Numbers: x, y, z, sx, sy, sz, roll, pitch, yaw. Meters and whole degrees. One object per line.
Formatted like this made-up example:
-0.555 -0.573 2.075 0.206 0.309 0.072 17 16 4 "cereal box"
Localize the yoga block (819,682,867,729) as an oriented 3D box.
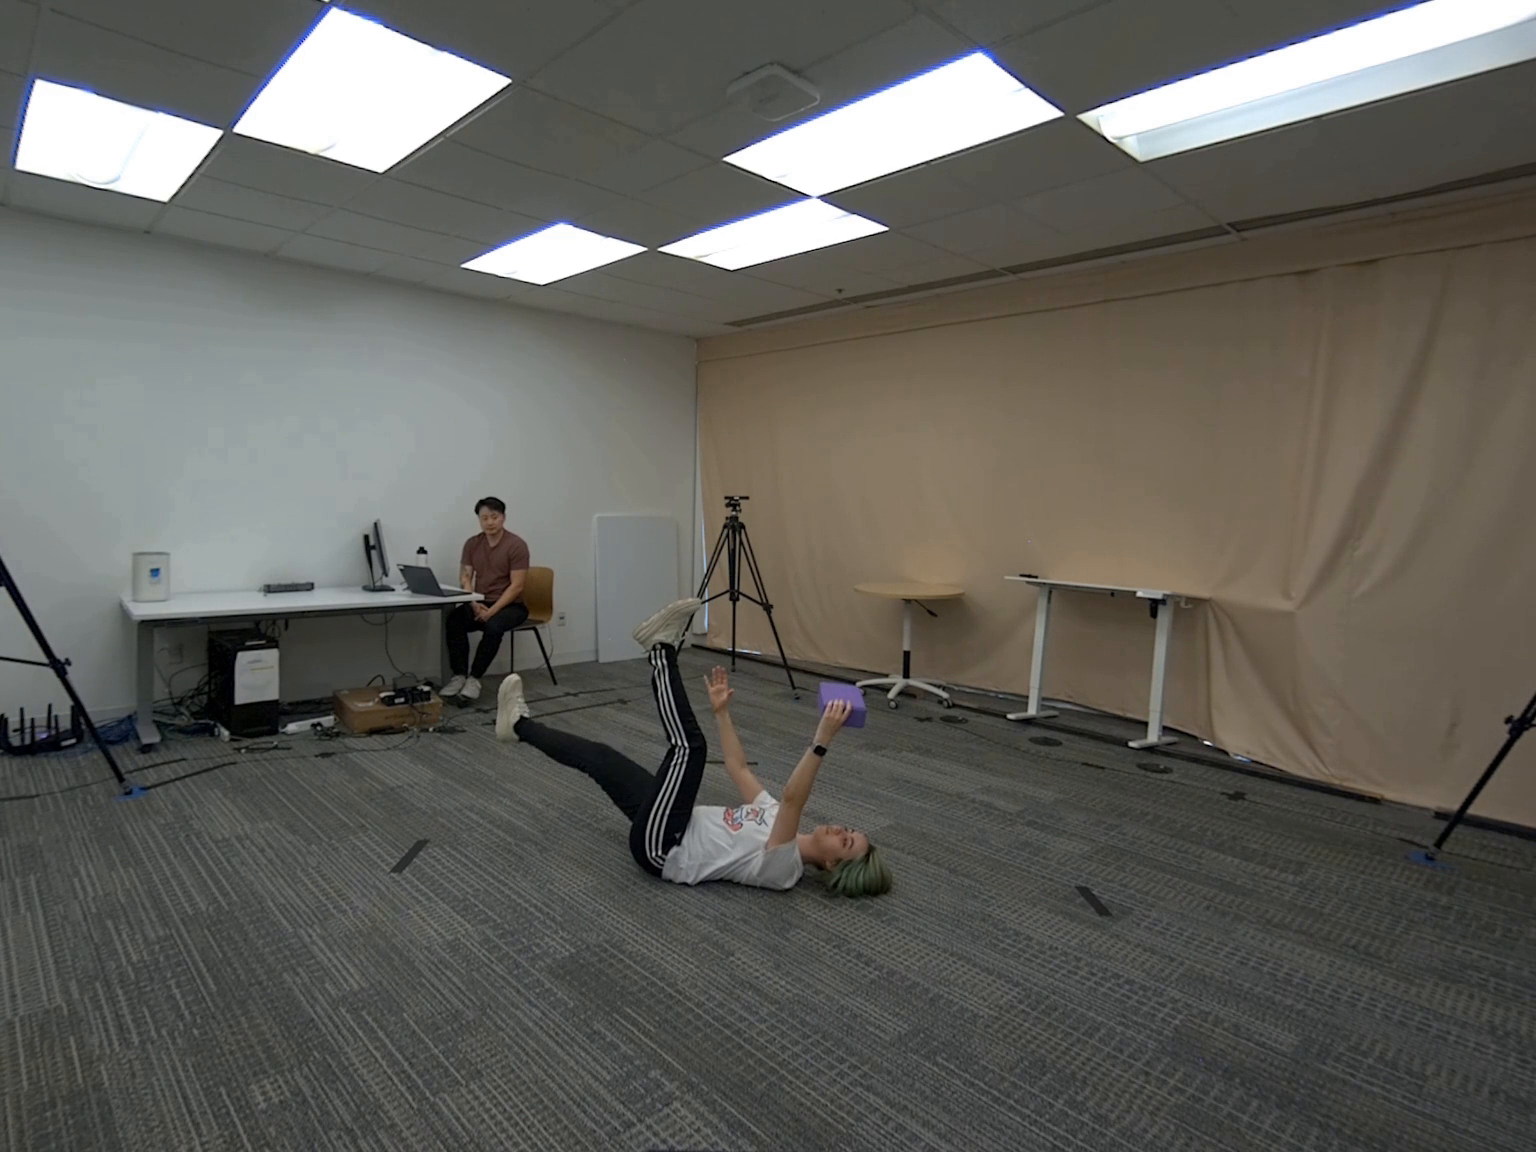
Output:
0.261 0.458 2.996 0.149 0.076 0.231 5 12 0 "yoga block"
